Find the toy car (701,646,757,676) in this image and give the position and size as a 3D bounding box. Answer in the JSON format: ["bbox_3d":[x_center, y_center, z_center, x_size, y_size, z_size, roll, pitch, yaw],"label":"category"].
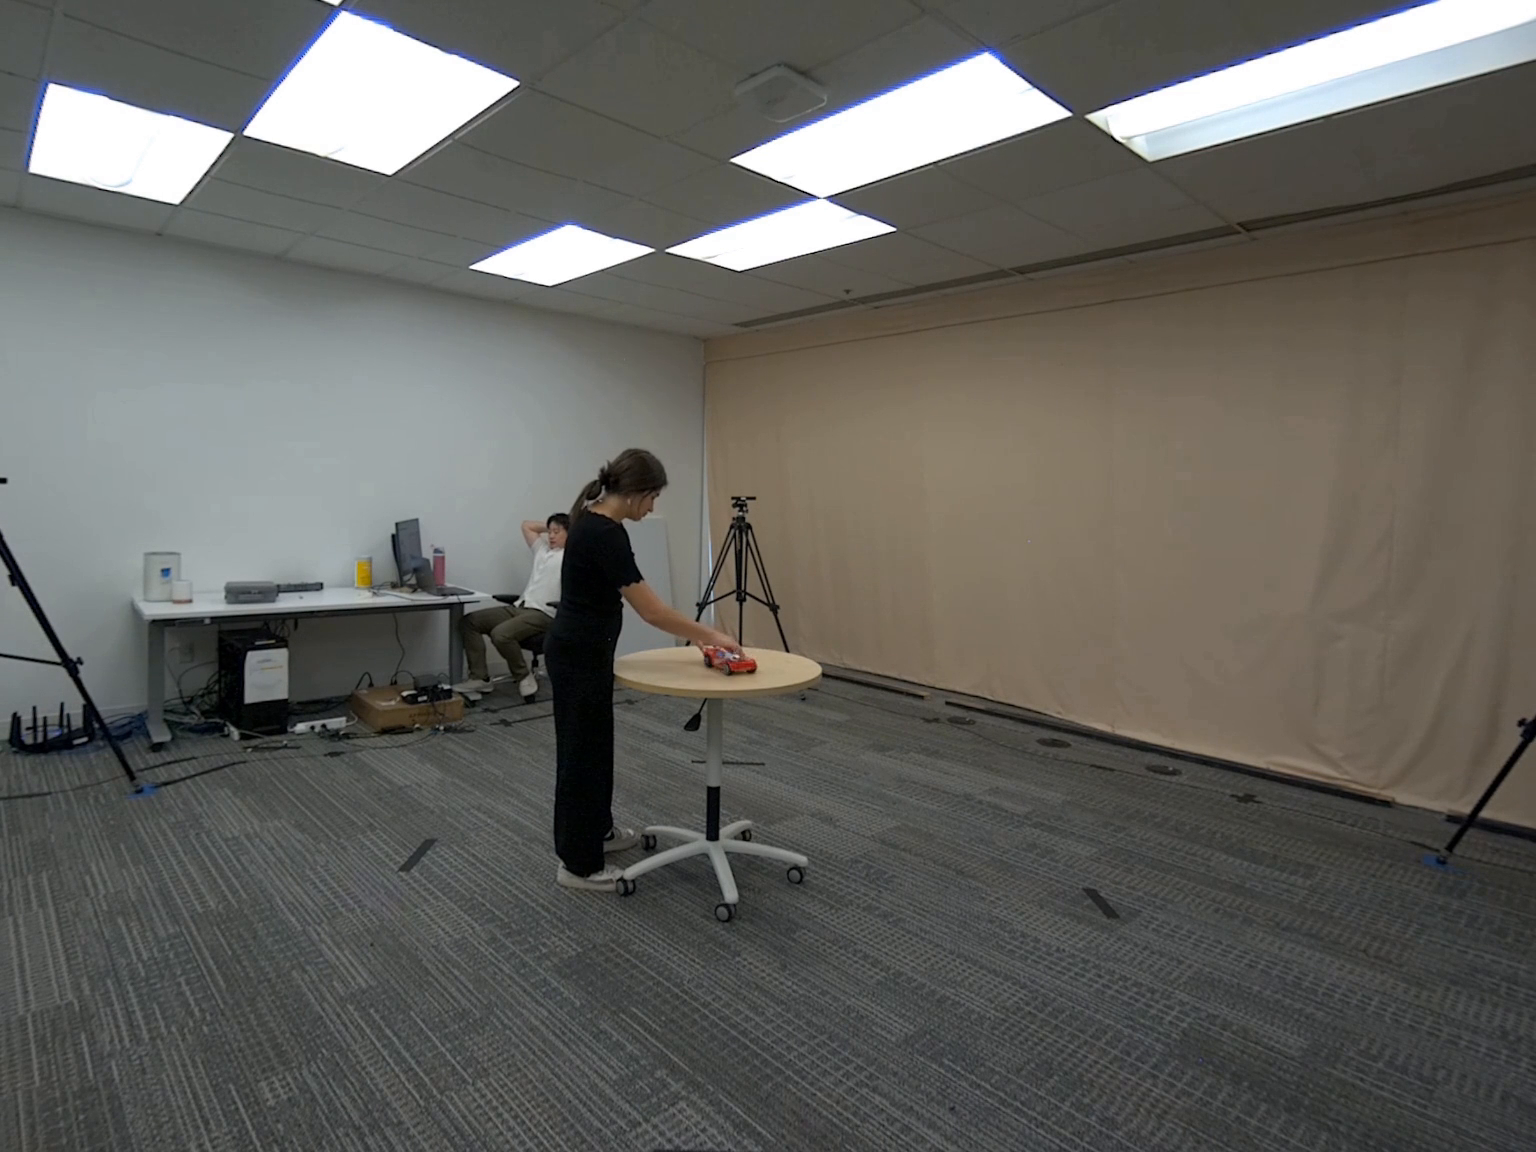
[{"bbox_3d":[-0.154,0.300,2.995,0.128,0.082,0.262,-2,17,-30],"label":"toy car"}]
